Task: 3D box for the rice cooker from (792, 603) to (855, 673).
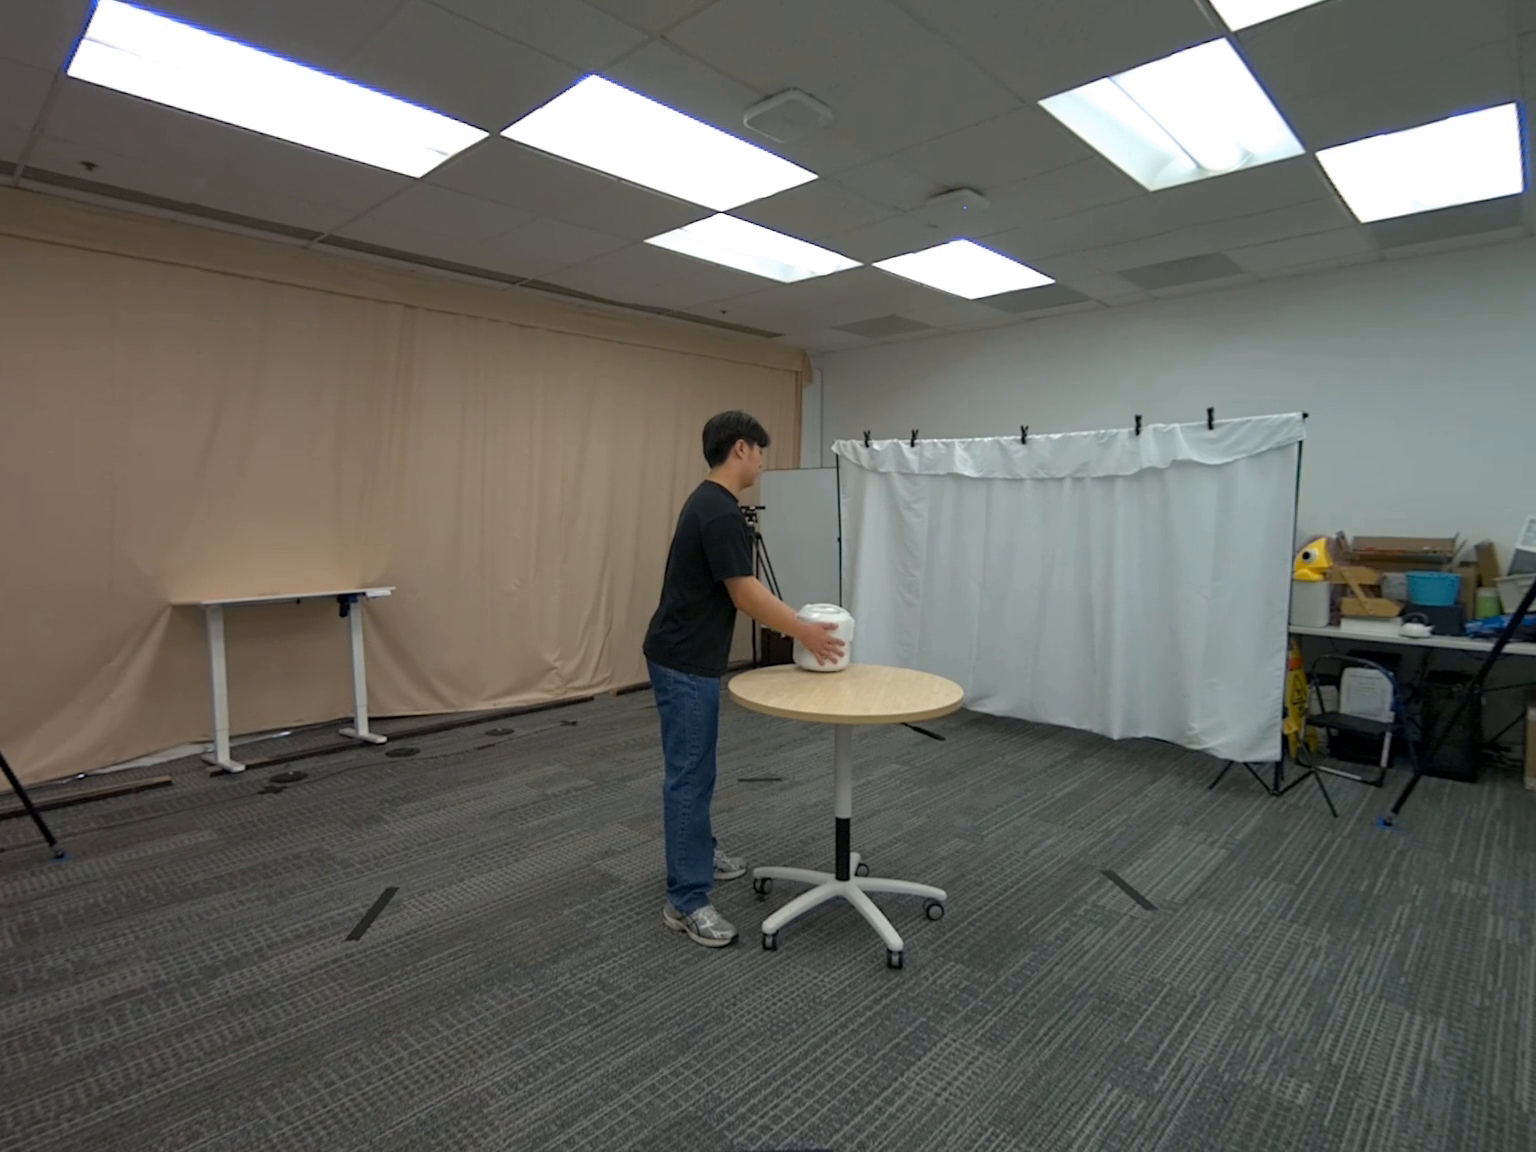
[{"bbox_3d":[0.209,0.217,3.052,0.221,0.232,0.217,3,5,1],"label":"rice cooker"}]
